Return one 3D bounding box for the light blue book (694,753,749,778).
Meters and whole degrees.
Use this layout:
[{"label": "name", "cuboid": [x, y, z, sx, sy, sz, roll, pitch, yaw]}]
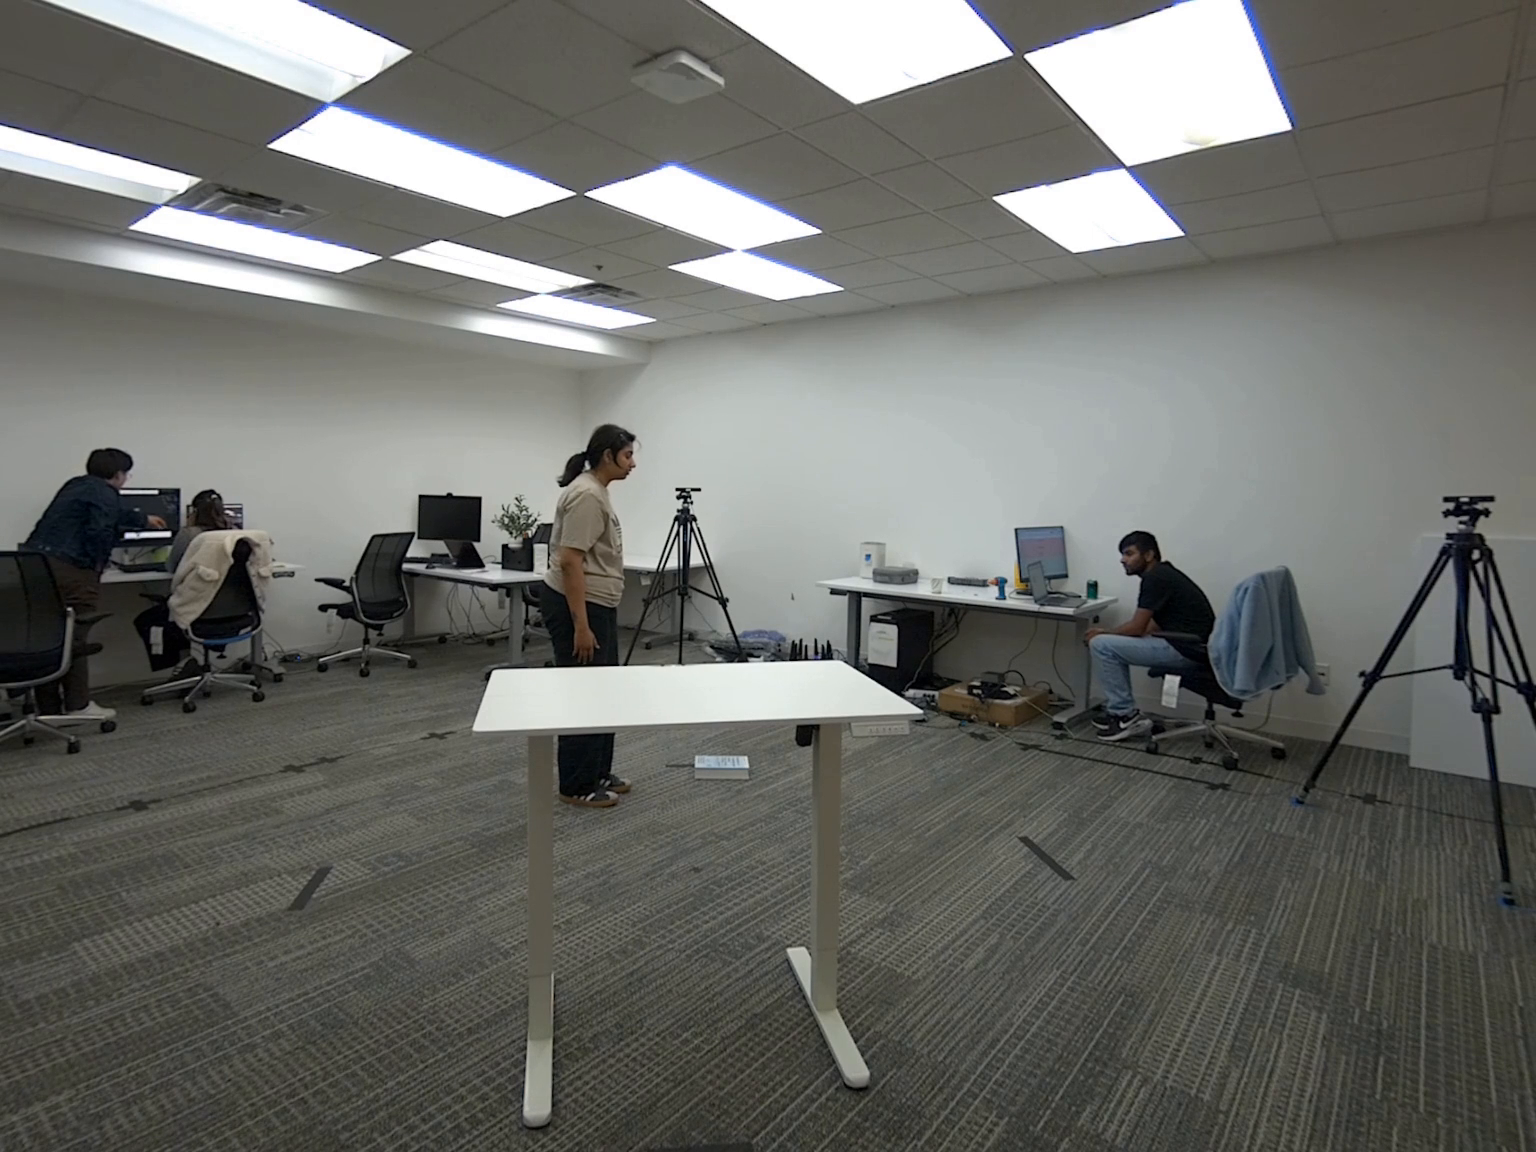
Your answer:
[{"label": "light blue book", "cuboid": [-0.235, 0.933, 4.162, 0.260, 0.059, 0.192, 0, 6, -2]}]
